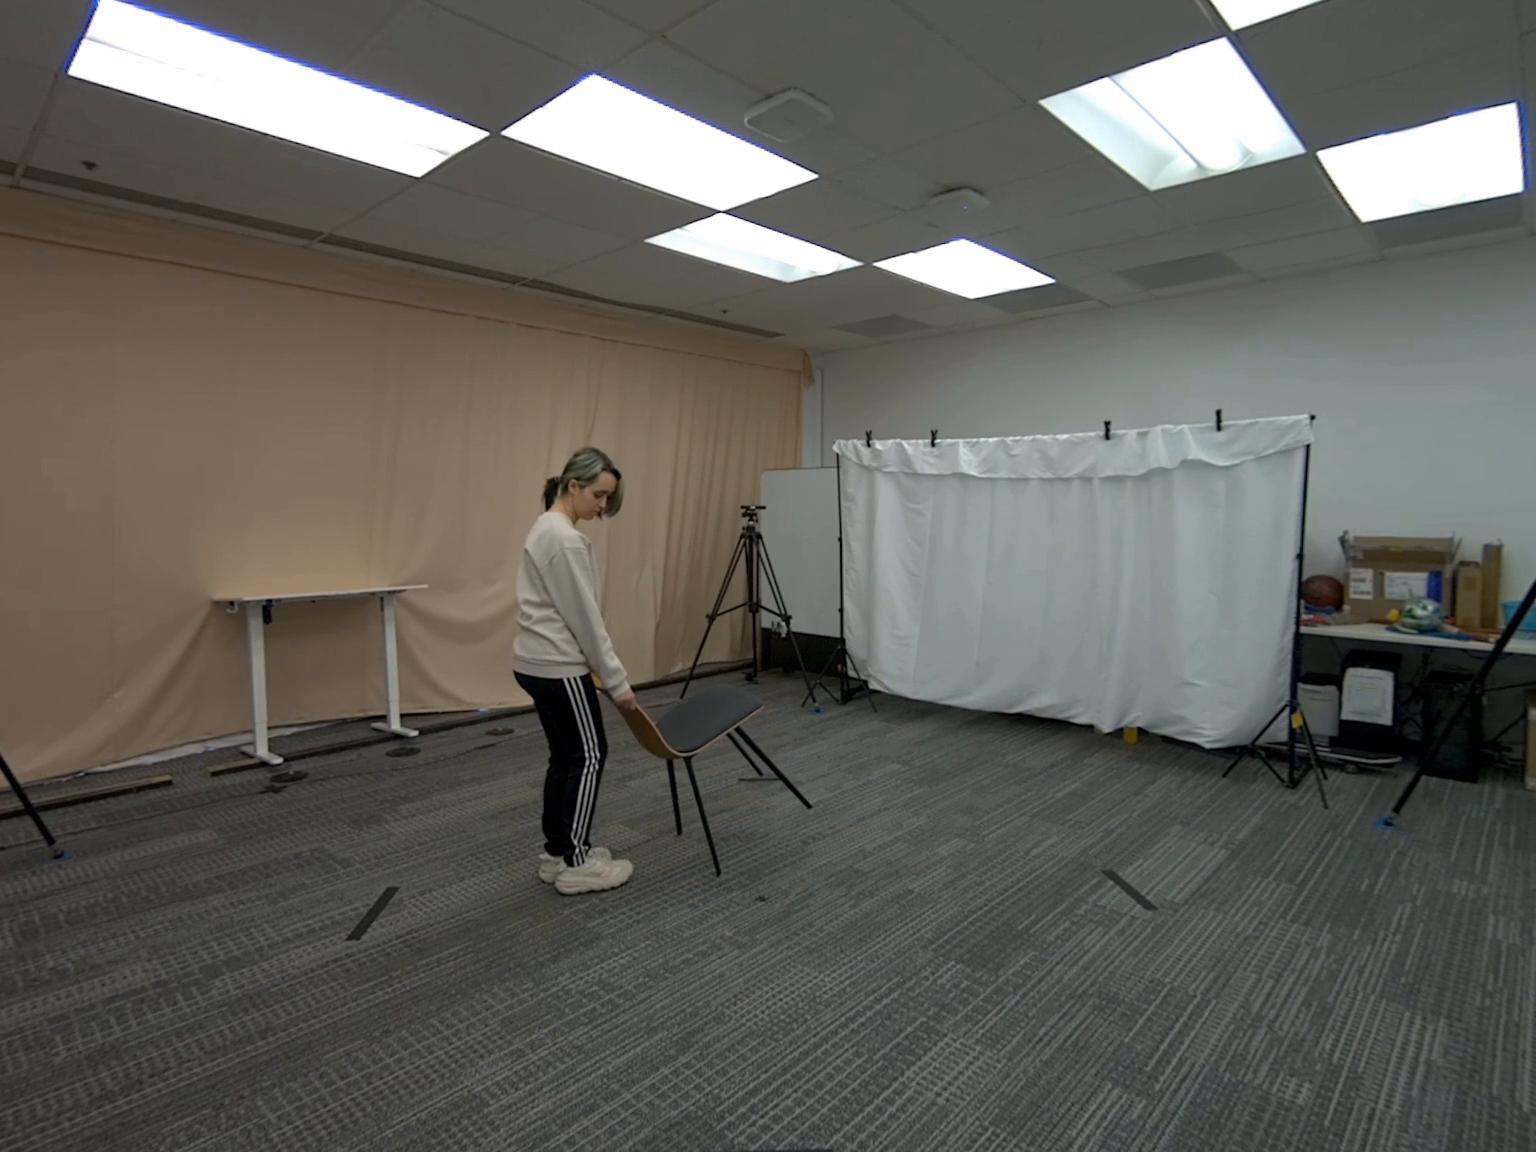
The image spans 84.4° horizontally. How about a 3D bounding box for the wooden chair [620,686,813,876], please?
[{"bbox_3d":[-0.269,0.628,3.346,0.518,0.864,0.490,-35,16,-19],"label":"wooden chair"}]
